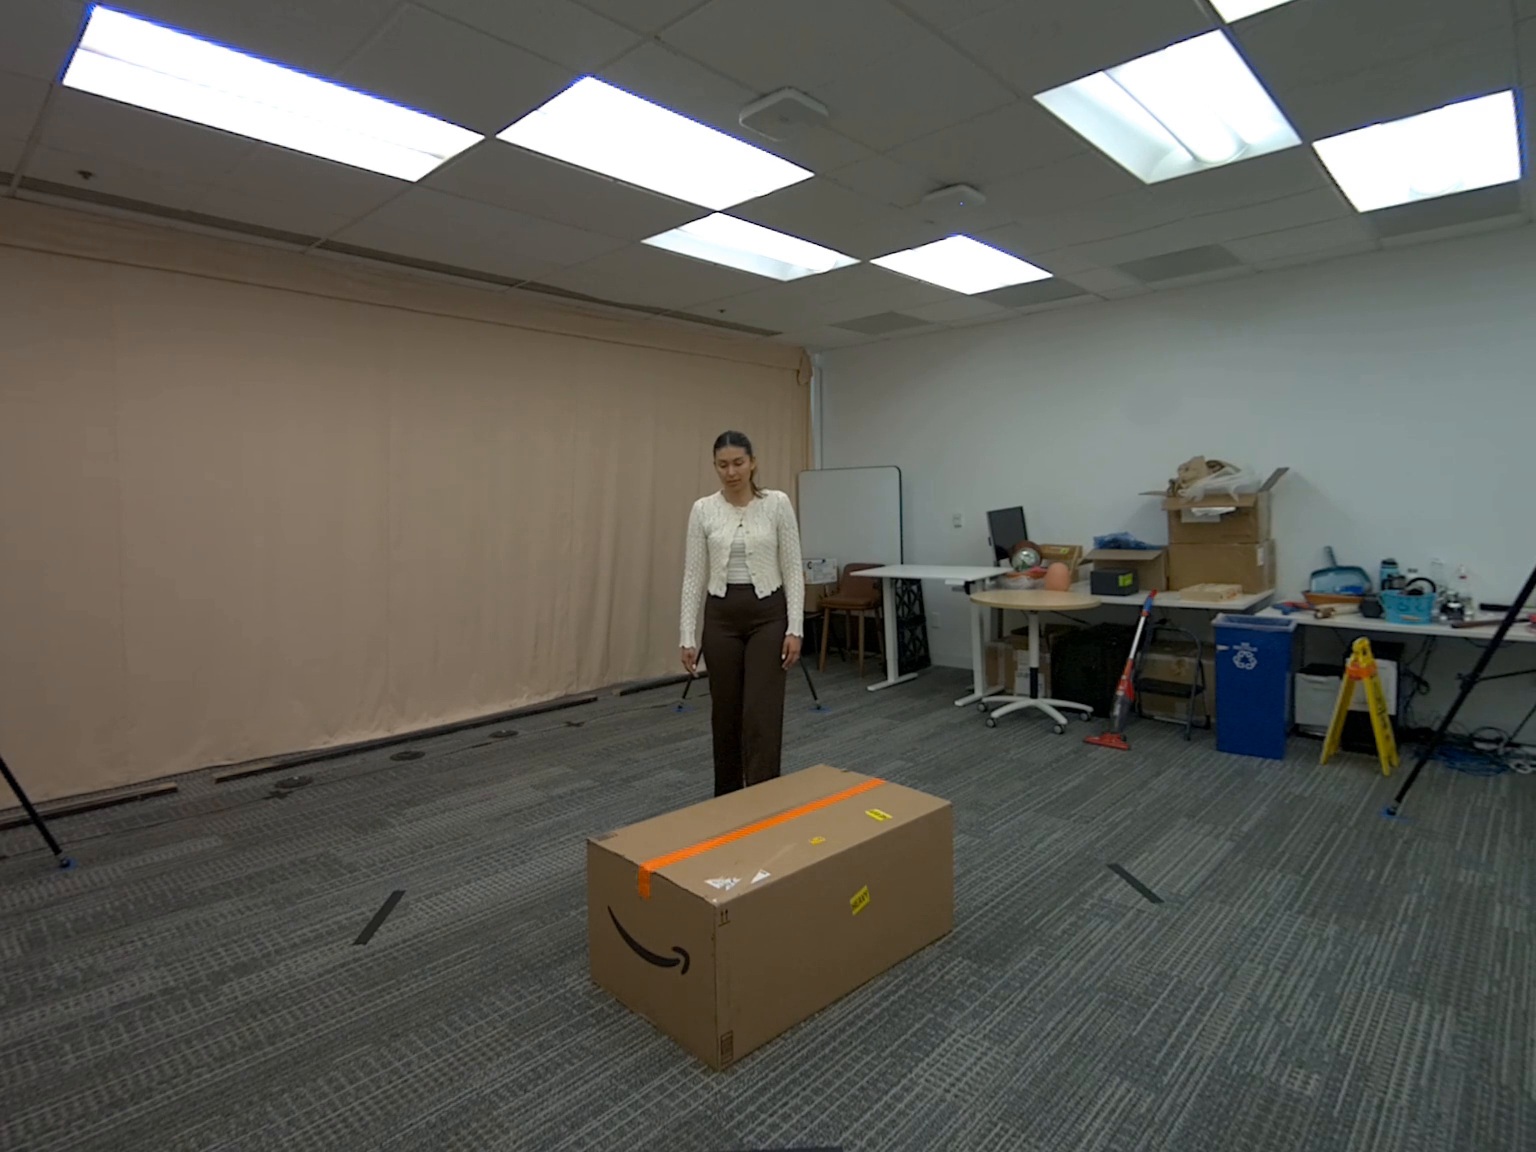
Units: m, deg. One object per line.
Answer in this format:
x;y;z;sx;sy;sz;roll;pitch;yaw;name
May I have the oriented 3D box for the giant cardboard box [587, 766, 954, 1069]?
0.038;0.958;2.597;0.995;0.425;0.597;-5;6;-43;giant cardboard box
